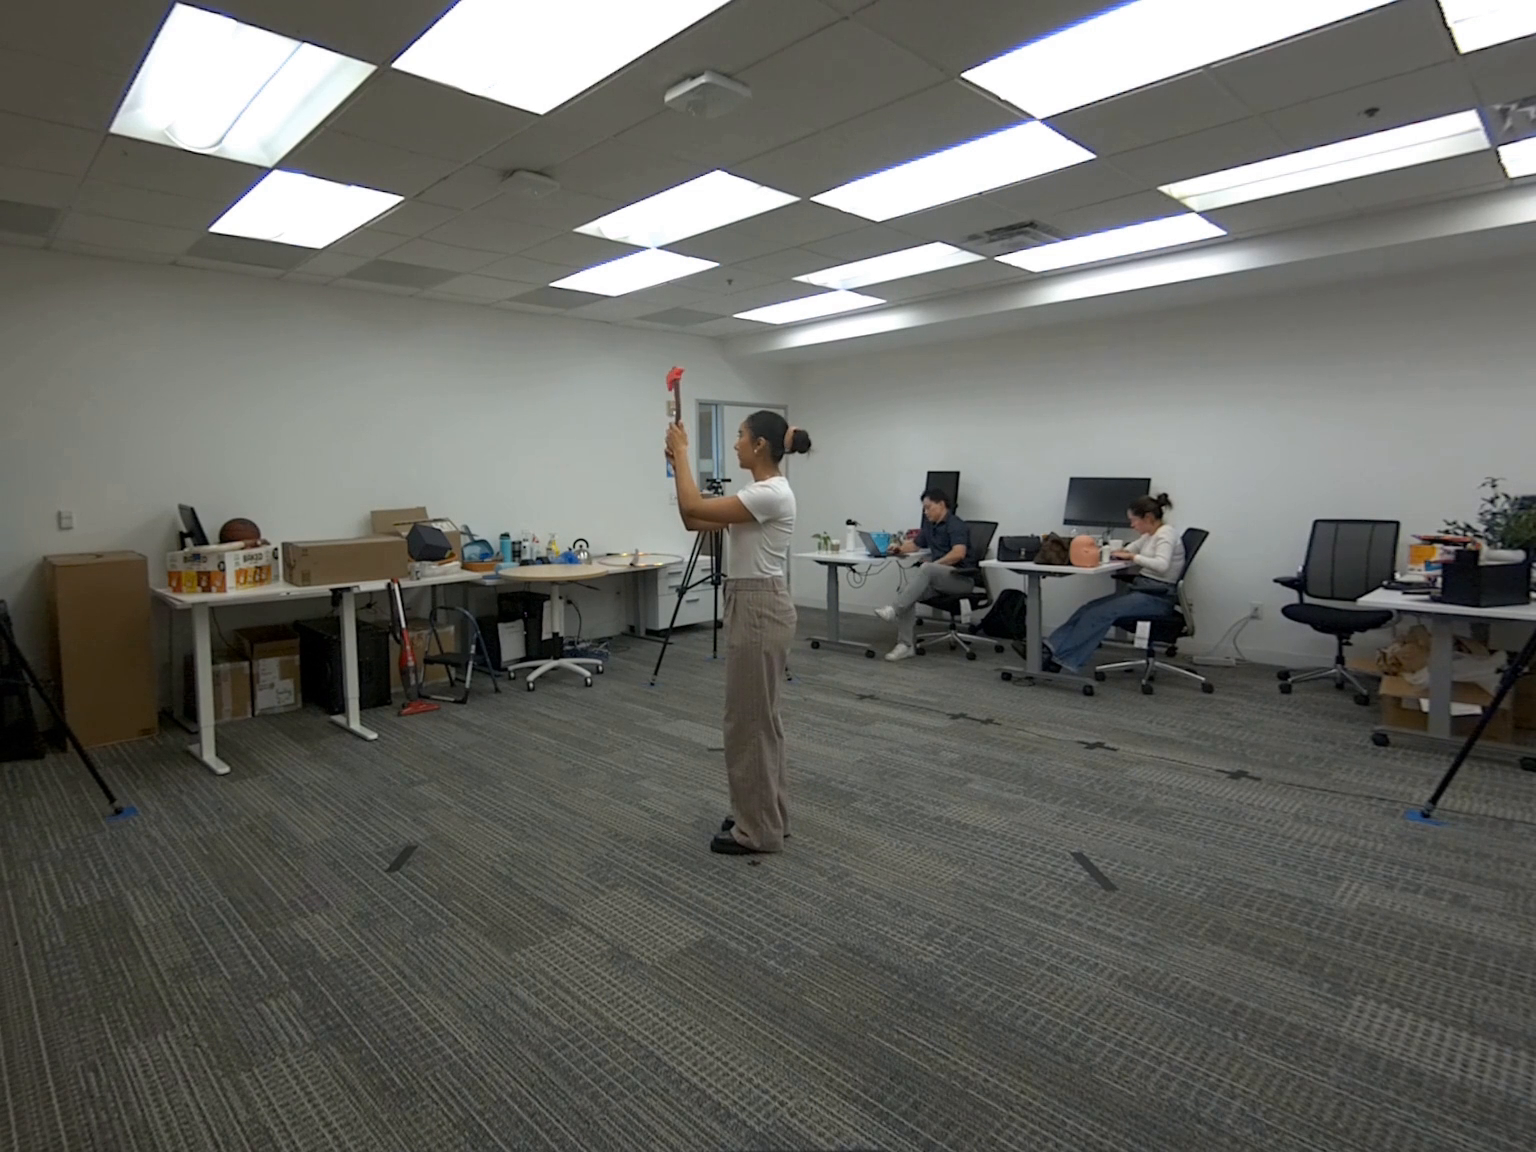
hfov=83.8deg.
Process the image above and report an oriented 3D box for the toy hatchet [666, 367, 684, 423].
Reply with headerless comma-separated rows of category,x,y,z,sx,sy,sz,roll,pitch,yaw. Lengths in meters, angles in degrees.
toy hatchet,-0.359,-0.661,3.256,0.029,0.268,0.135,-2,11,-34
